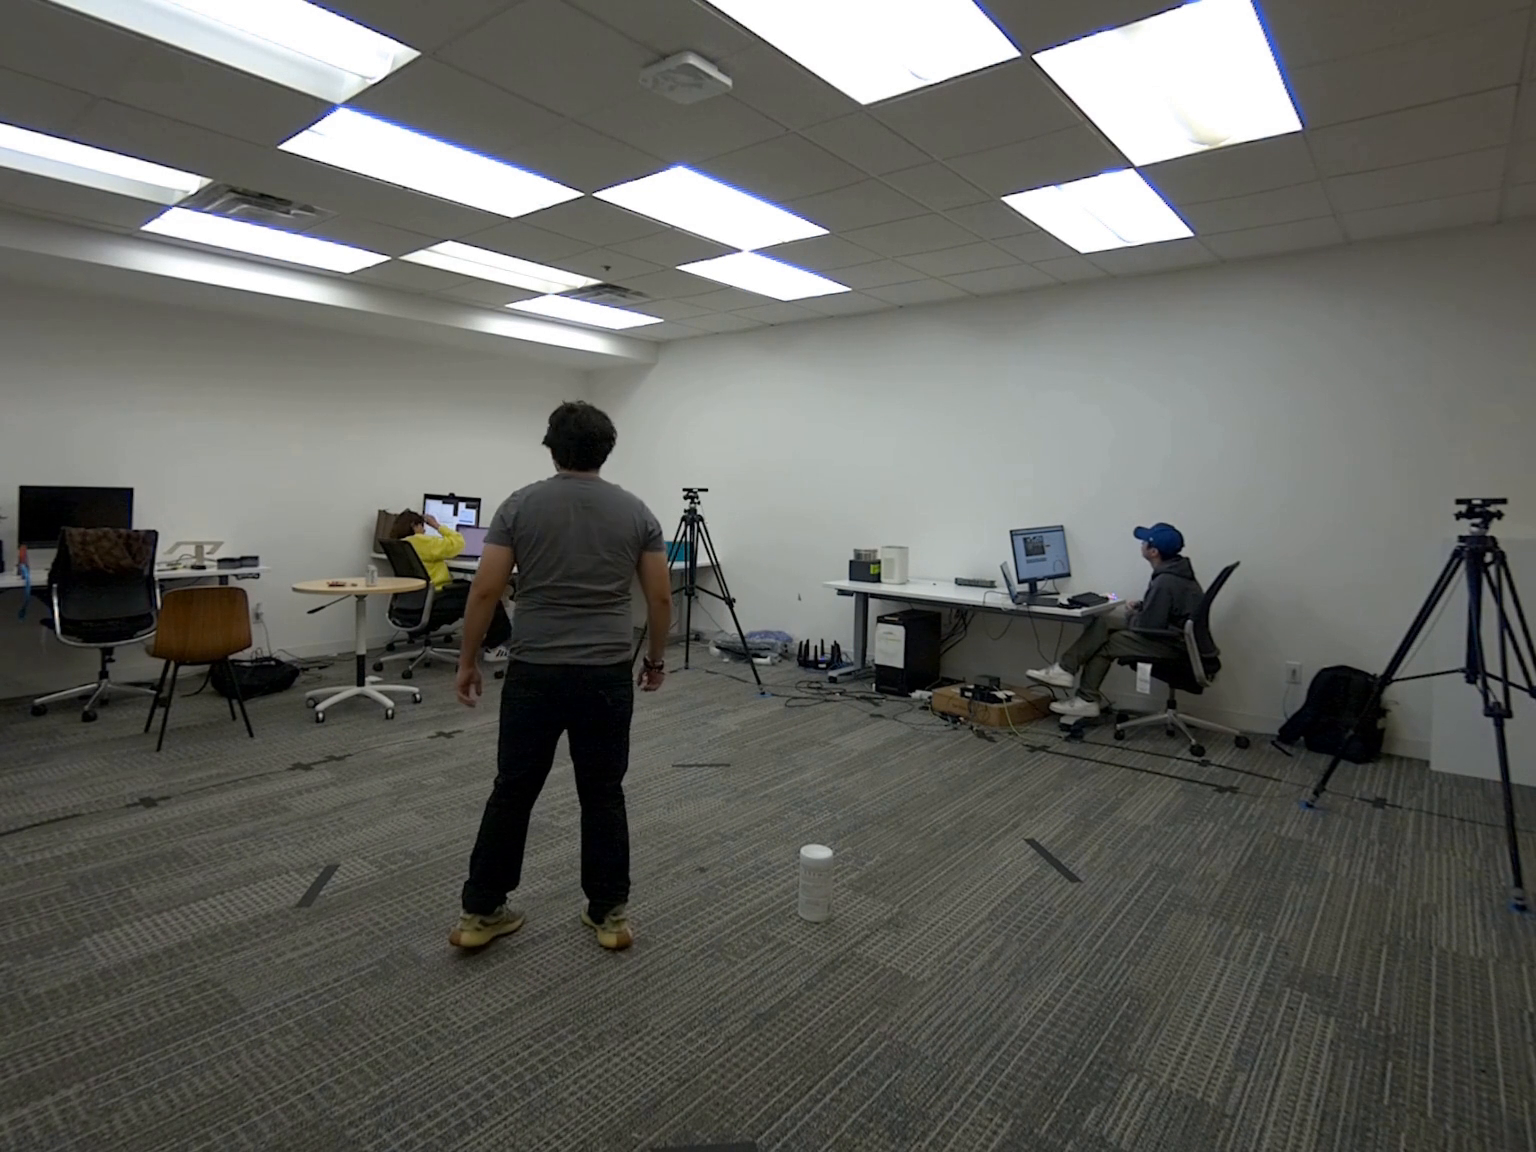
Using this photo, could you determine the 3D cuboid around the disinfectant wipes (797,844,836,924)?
[{"bbox_3d":[0.155,1.003,2.792,0.118,0.217,0.118,-3,3,-2],"label":"disinfectant wipes"}]
